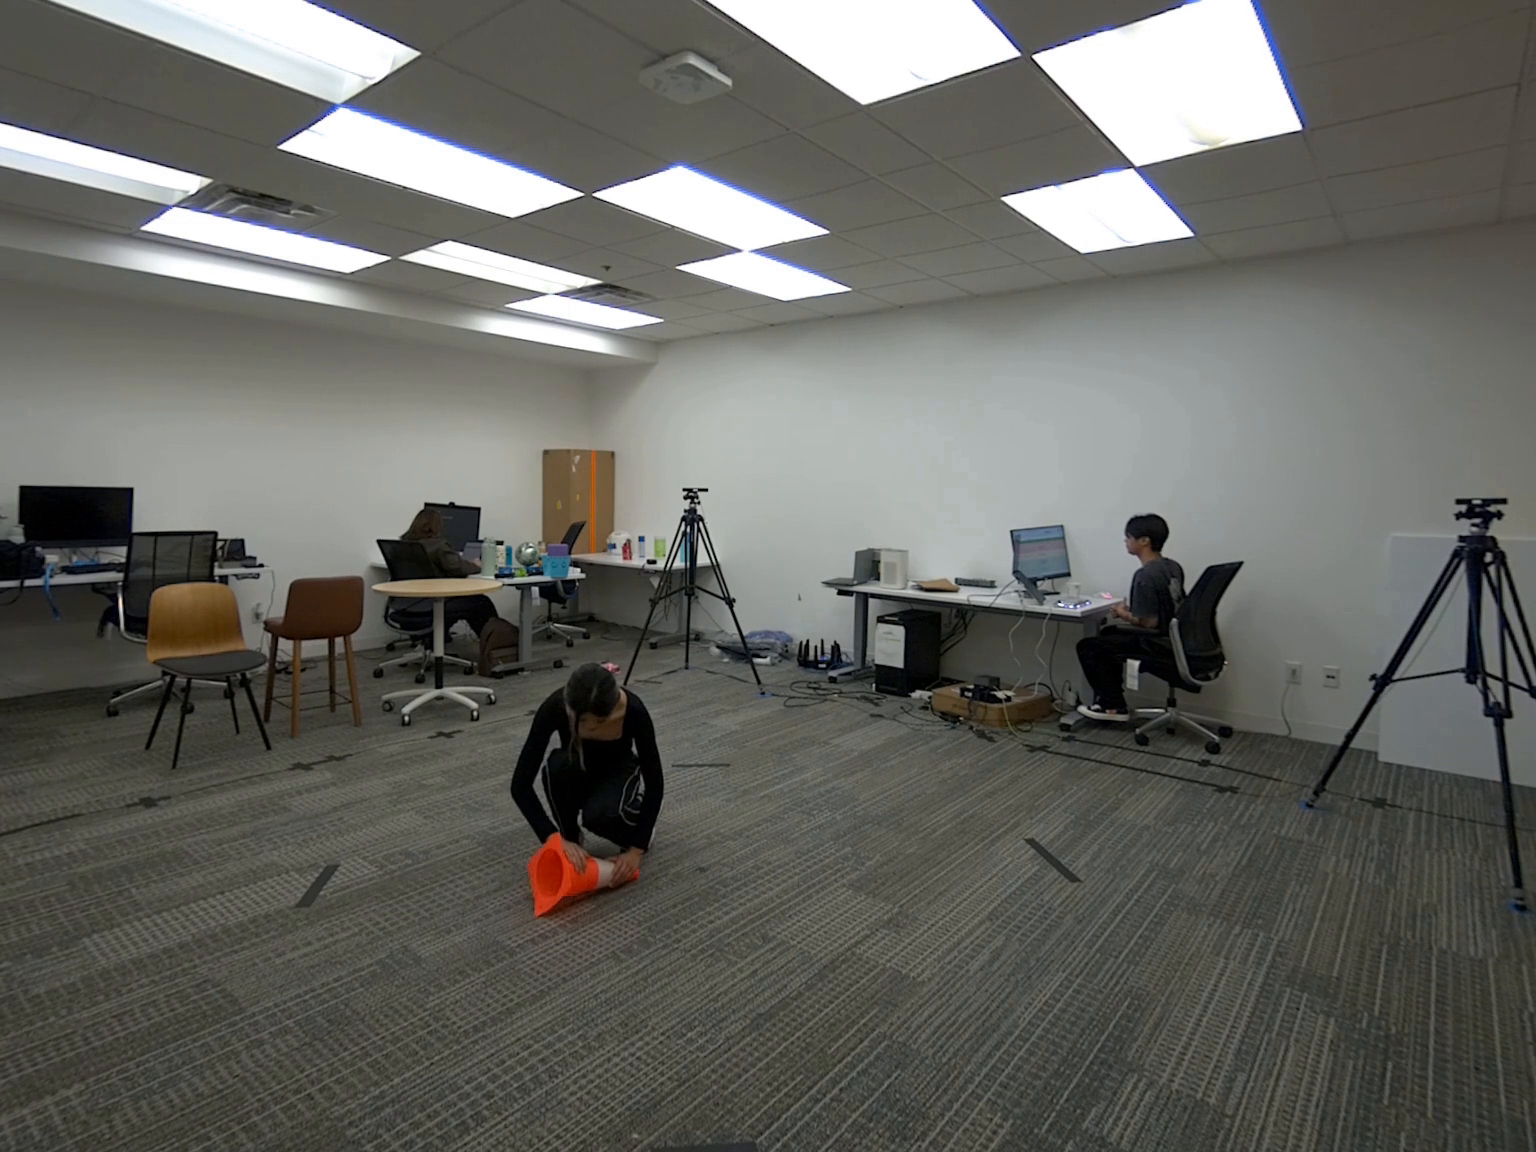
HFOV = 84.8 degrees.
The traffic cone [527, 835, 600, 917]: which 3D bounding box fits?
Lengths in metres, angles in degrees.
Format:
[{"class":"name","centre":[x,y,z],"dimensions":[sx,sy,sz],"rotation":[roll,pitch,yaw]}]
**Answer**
[{"class":"traffic cone","centre":[-0.605,1.026,2.907],"dimensions":[0.368,0.205,0.211],"rotation":[22,30,-43]}]
